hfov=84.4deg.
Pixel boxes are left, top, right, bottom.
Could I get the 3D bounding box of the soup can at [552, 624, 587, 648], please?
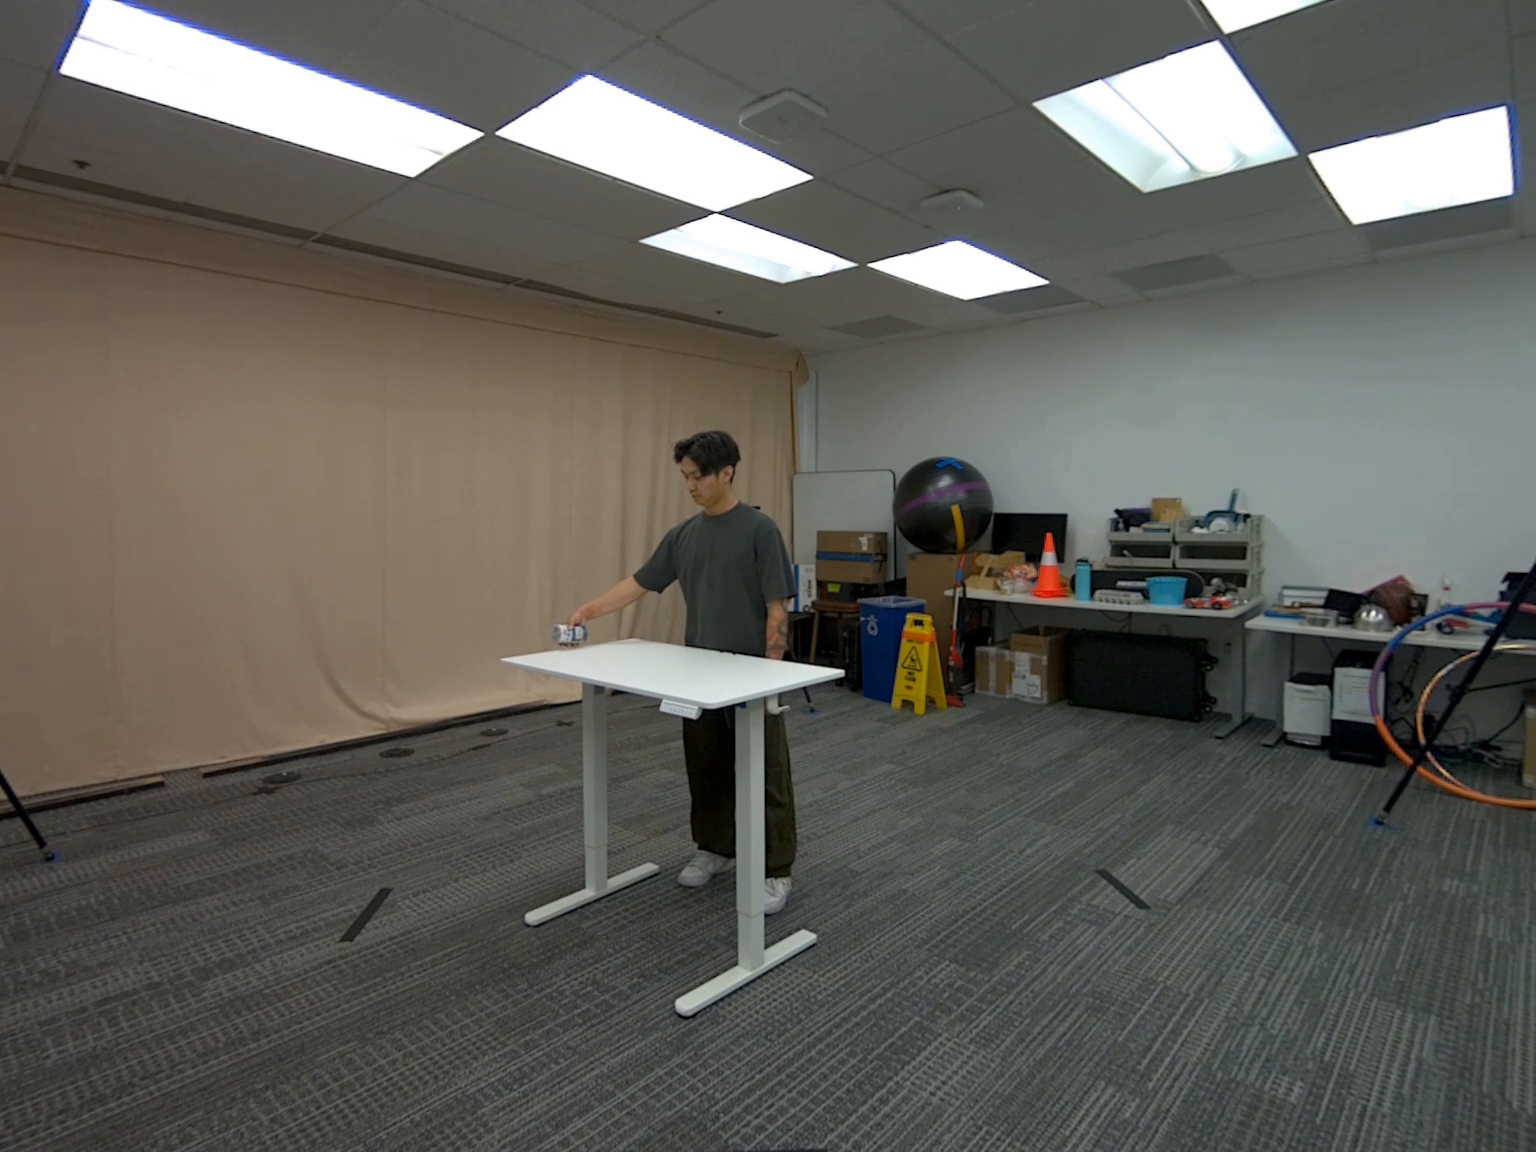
[{"bbox_3d":[-0.718,0.214,3.067,0.117,0.067,0.069,7,-2,-40],"label":"soup can"}]
